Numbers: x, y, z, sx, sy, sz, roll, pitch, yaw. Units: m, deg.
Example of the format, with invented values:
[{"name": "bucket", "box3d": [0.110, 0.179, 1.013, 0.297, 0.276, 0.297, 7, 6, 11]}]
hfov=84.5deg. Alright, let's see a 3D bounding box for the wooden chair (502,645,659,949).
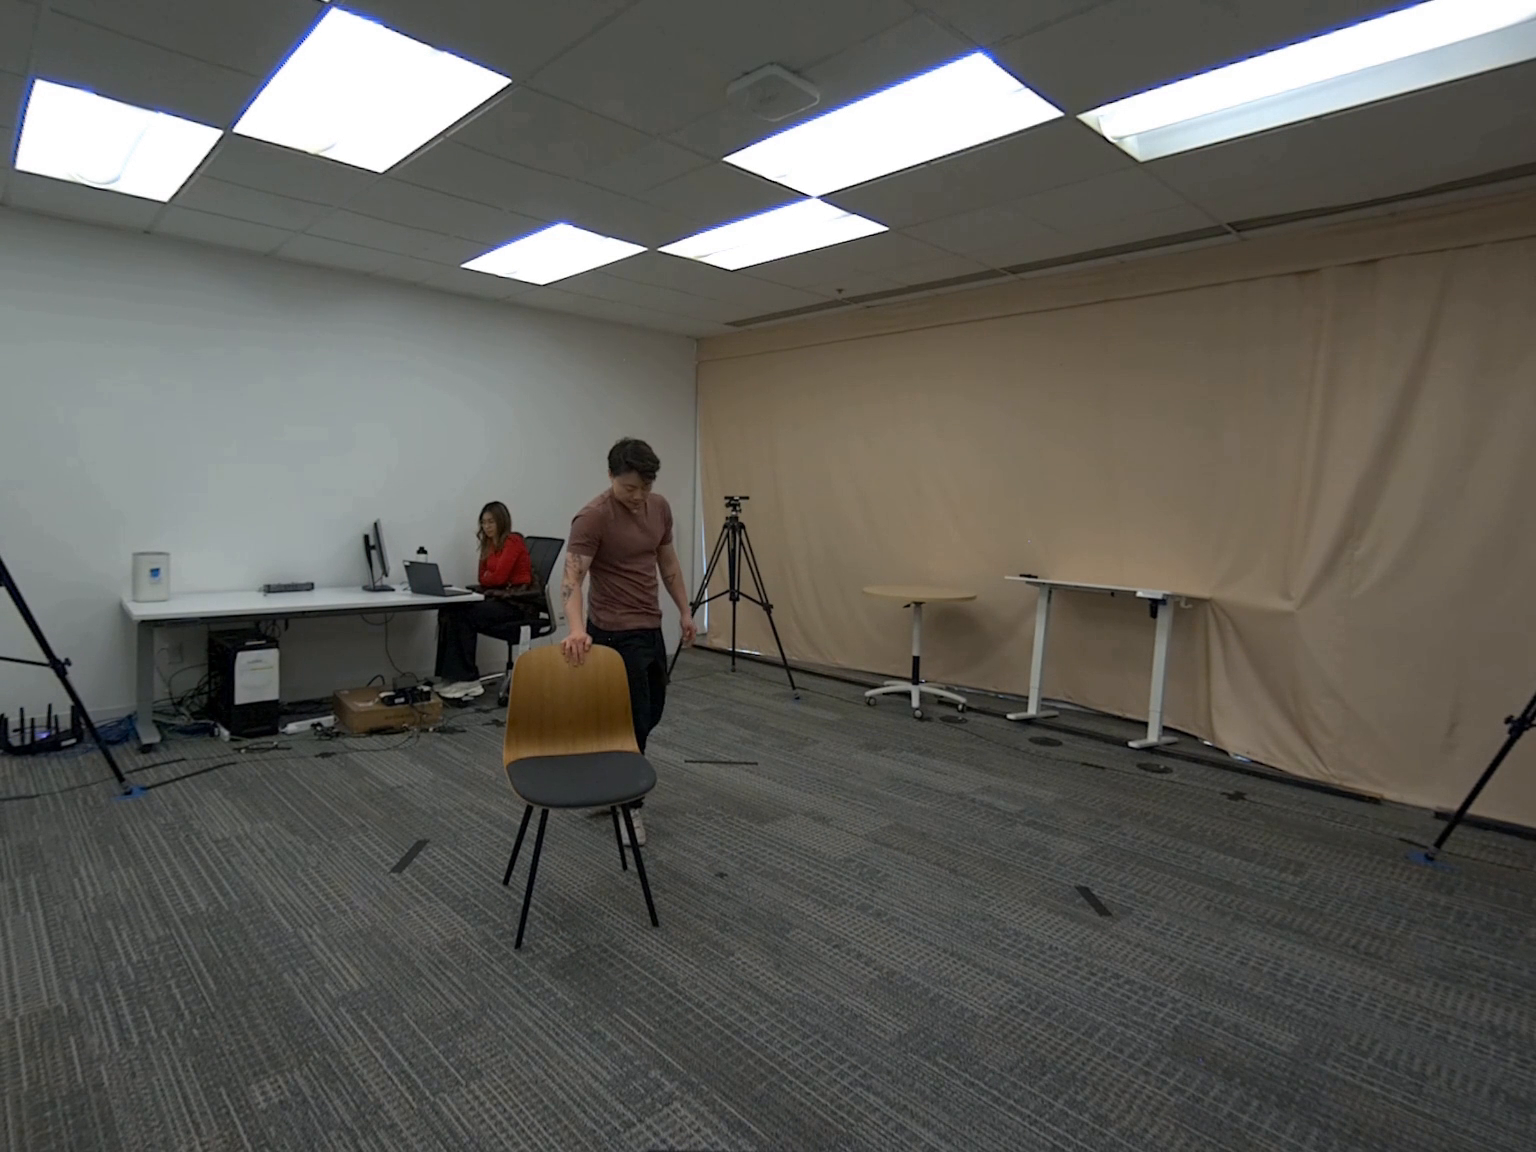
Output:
[{"name": "wooden chair", "box3d": [-0.640, 0.694, 2.810, 0.470, 0.878, 0.531, 0, -1, -22]}]
